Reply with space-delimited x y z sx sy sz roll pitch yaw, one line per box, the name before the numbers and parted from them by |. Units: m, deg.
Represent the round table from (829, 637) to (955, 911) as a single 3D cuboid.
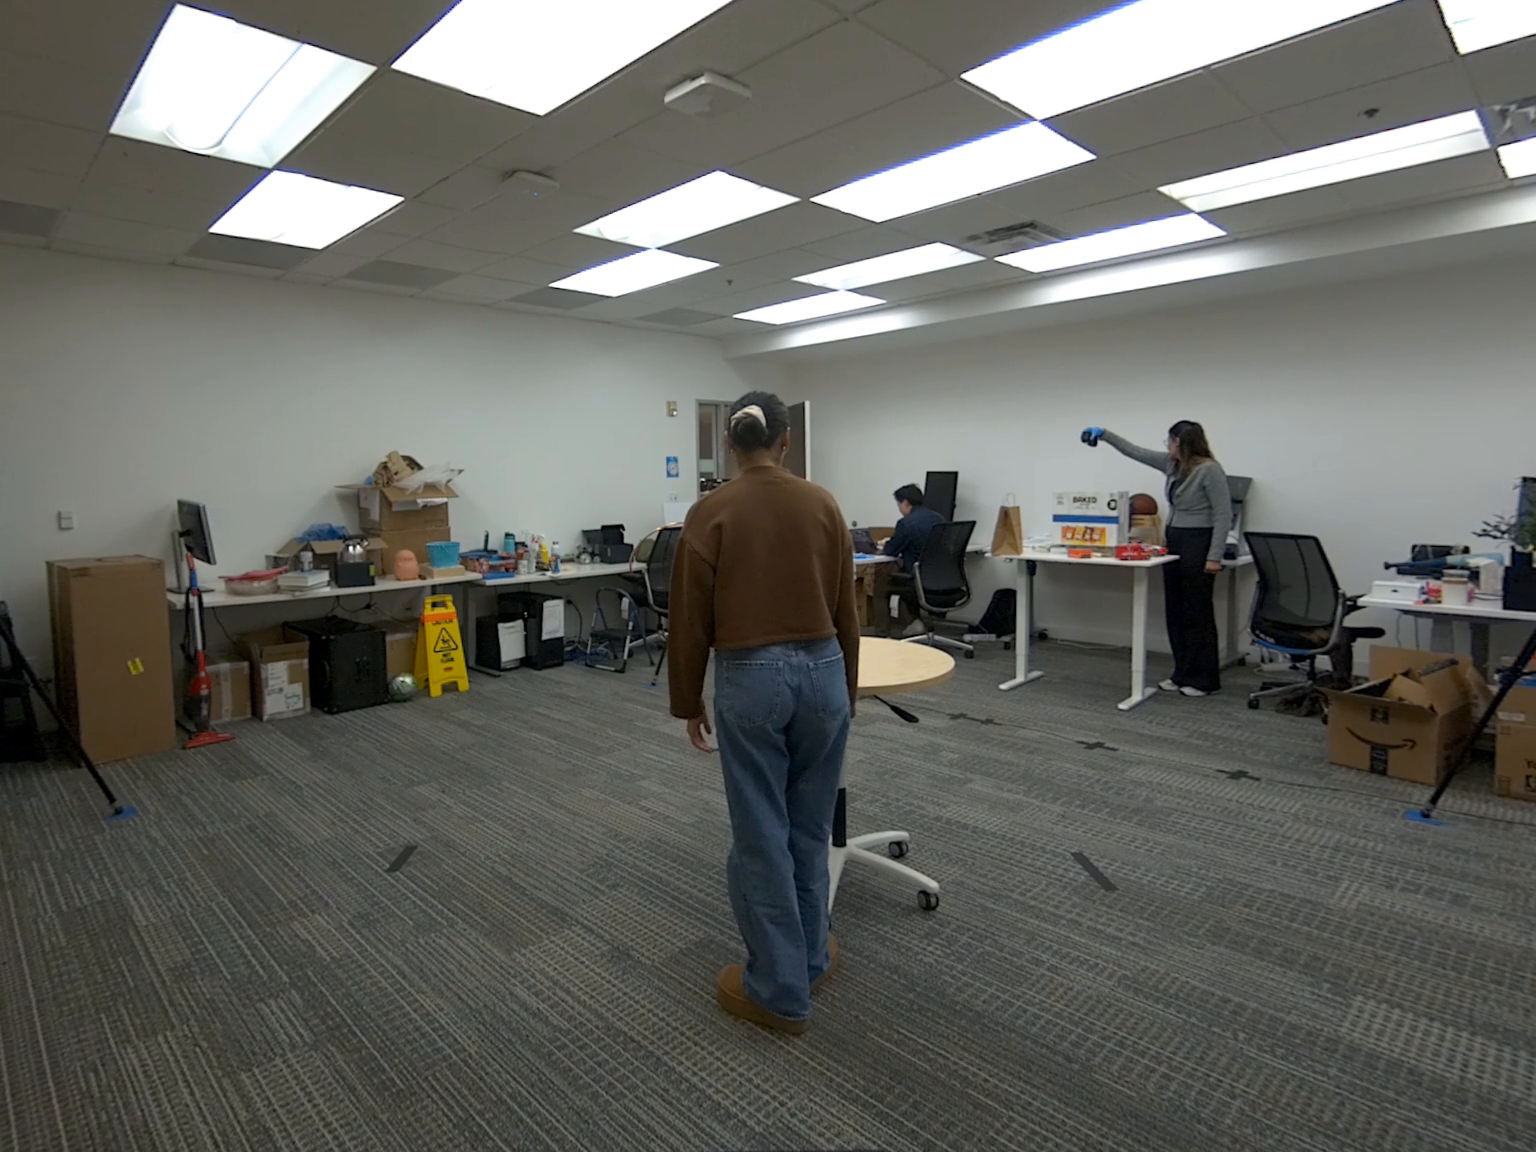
round table | 0.252 0.674 2.909 0.763 0.790 0.768 -1 5 -2
